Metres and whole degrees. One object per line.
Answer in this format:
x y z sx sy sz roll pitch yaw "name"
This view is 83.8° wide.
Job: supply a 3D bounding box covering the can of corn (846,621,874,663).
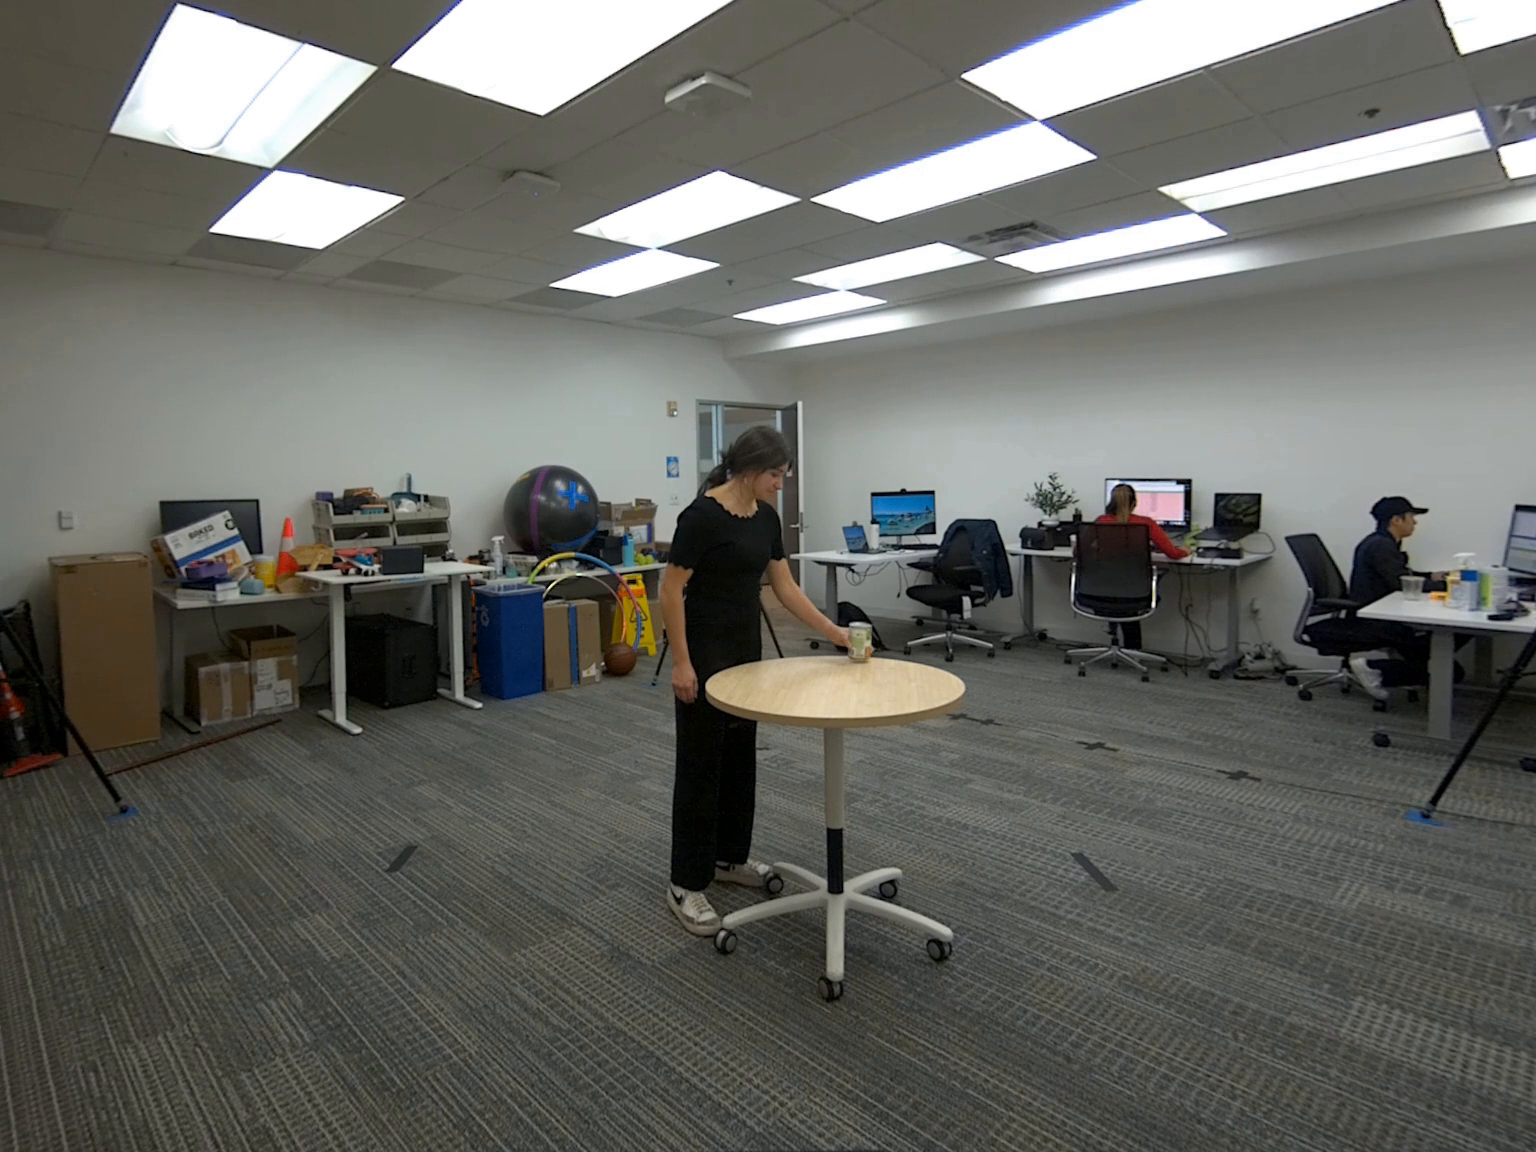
0.298 0.214 2.831 0.074 0.110 0.075 -1 11 -1 "can of corn"
